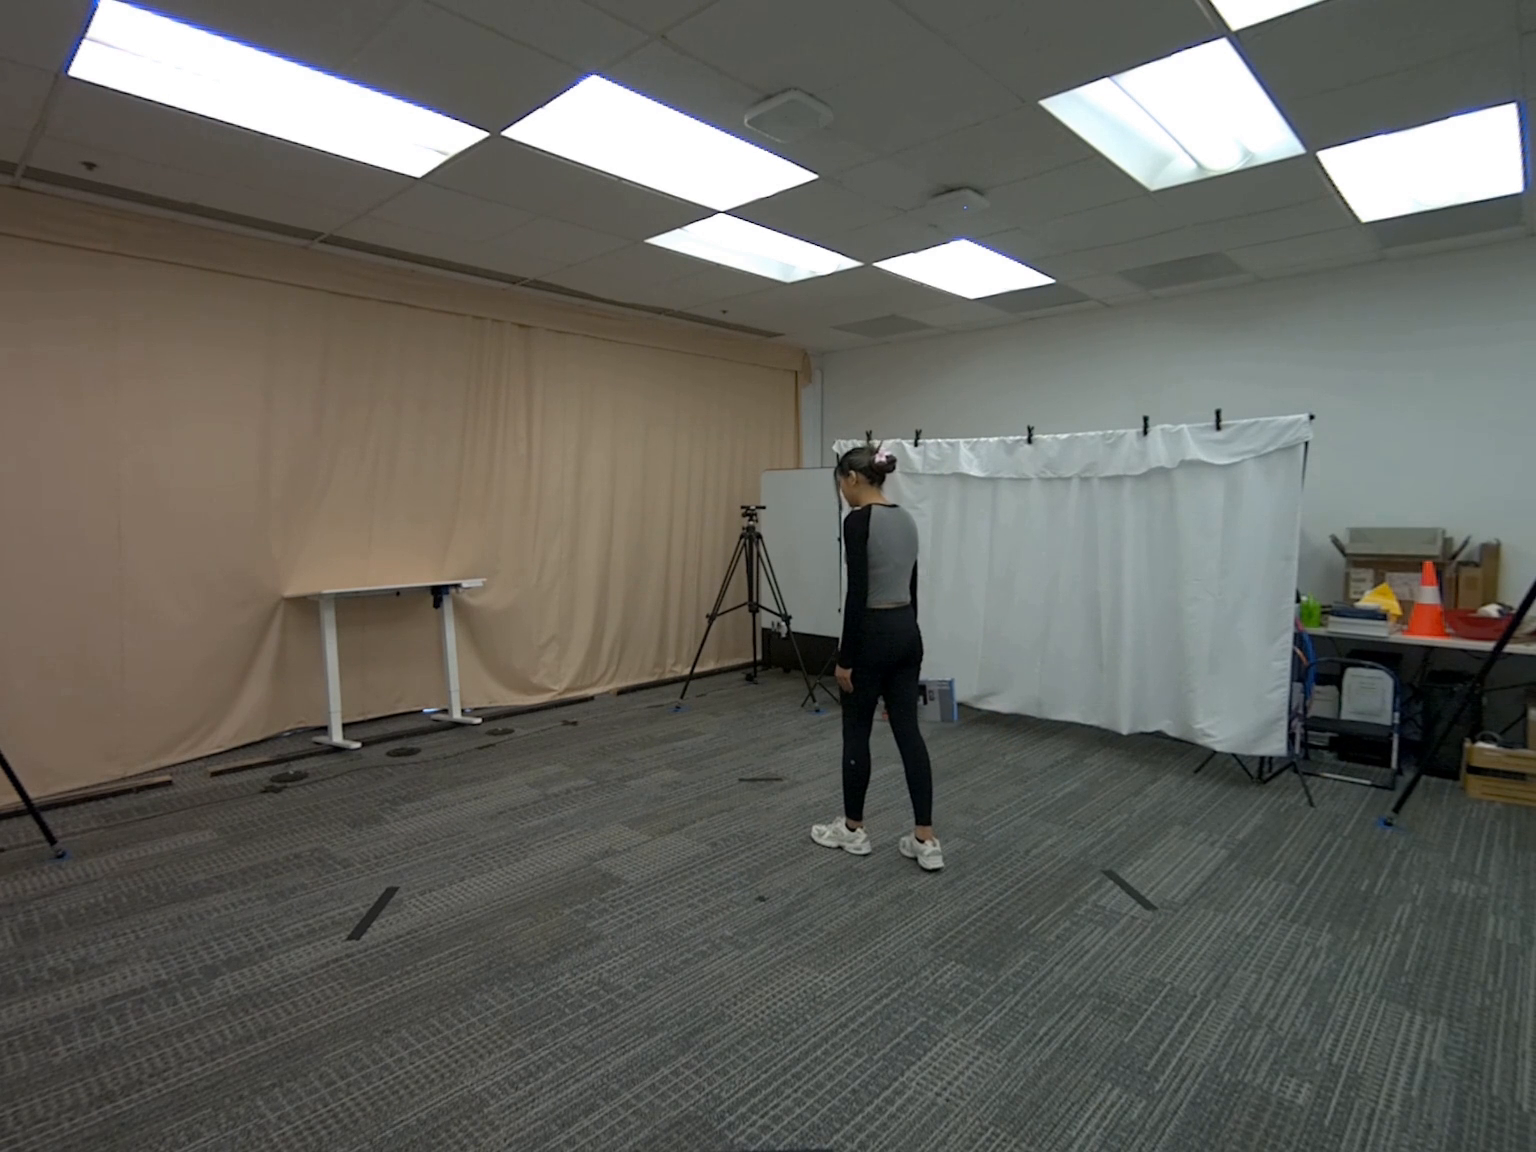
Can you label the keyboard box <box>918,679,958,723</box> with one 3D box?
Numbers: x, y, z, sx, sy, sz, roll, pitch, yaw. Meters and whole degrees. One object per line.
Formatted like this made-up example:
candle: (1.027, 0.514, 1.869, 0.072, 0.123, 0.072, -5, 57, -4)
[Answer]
keyboard box: (0.568, 0.521, 3.536, 0.448, 0.176, 0.057, -4, 0, 27)
